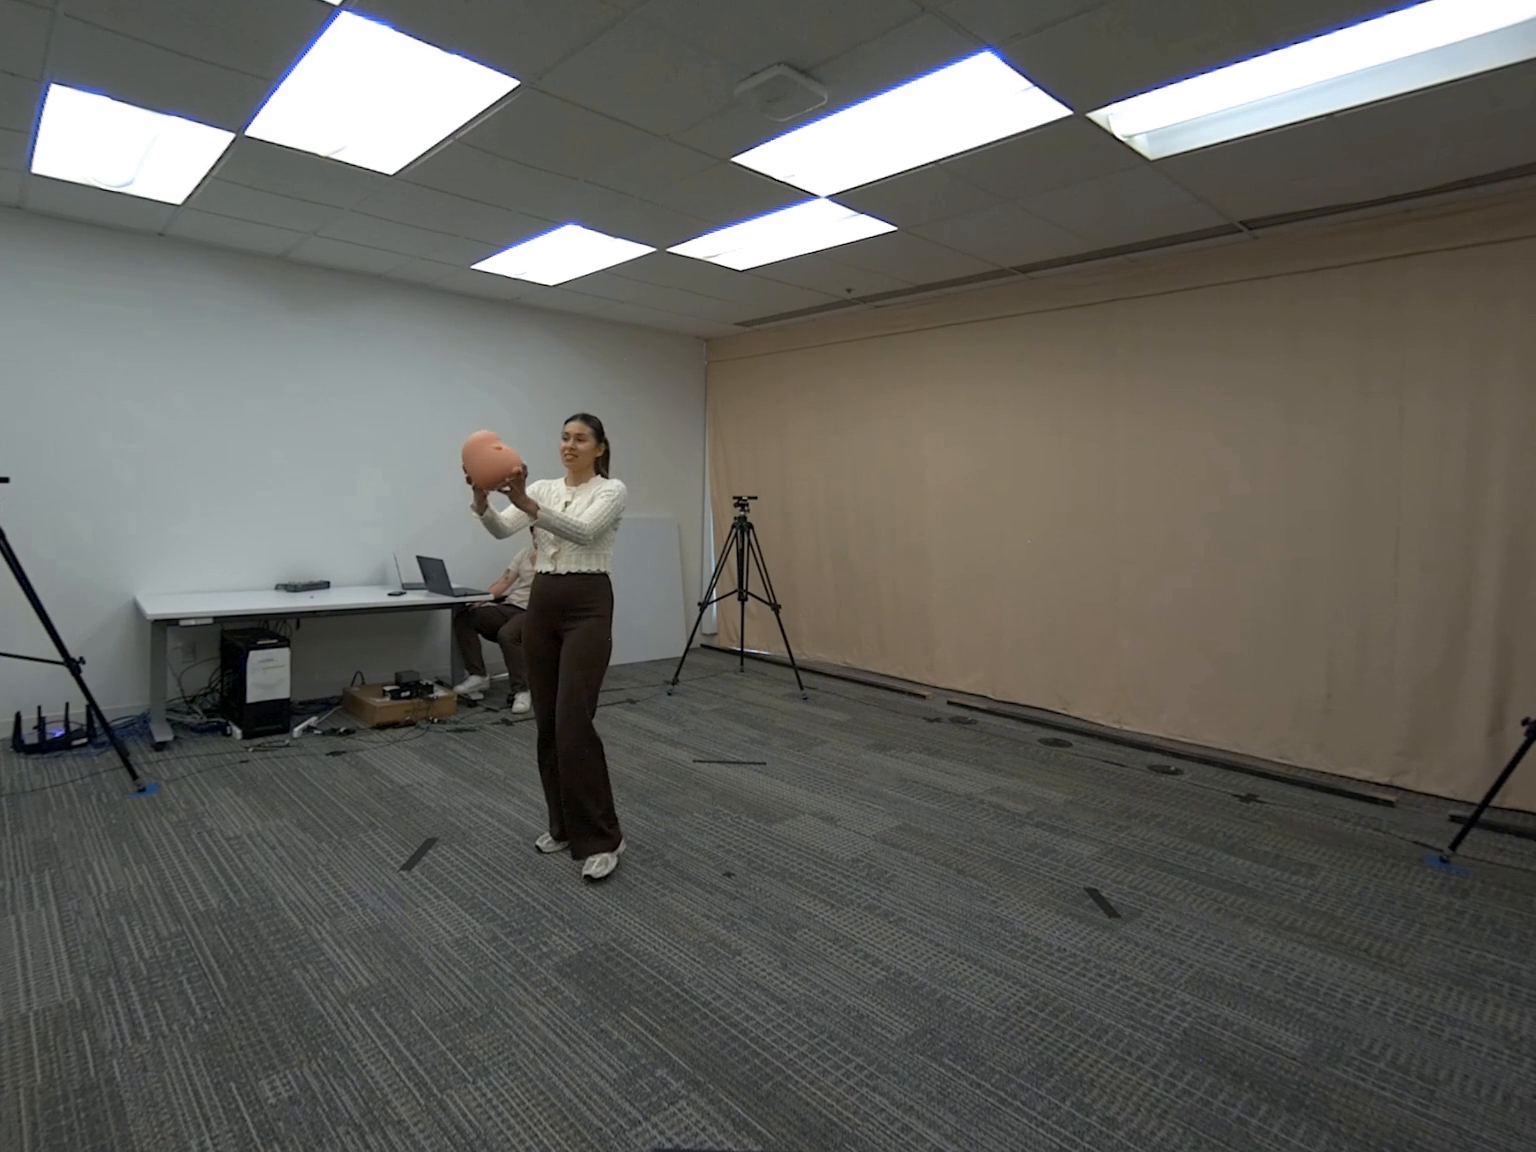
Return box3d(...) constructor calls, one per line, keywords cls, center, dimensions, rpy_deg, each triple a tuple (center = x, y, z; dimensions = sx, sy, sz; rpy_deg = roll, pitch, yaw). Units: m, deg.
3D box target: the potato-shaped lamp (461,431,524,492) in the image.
box3d(cls="potato-shaped lamp", center=(-0.931, -0.378, 2.767), dimensions=(0.200, 0.170, 0.164), rpy_deg=(40, 45, 8))
